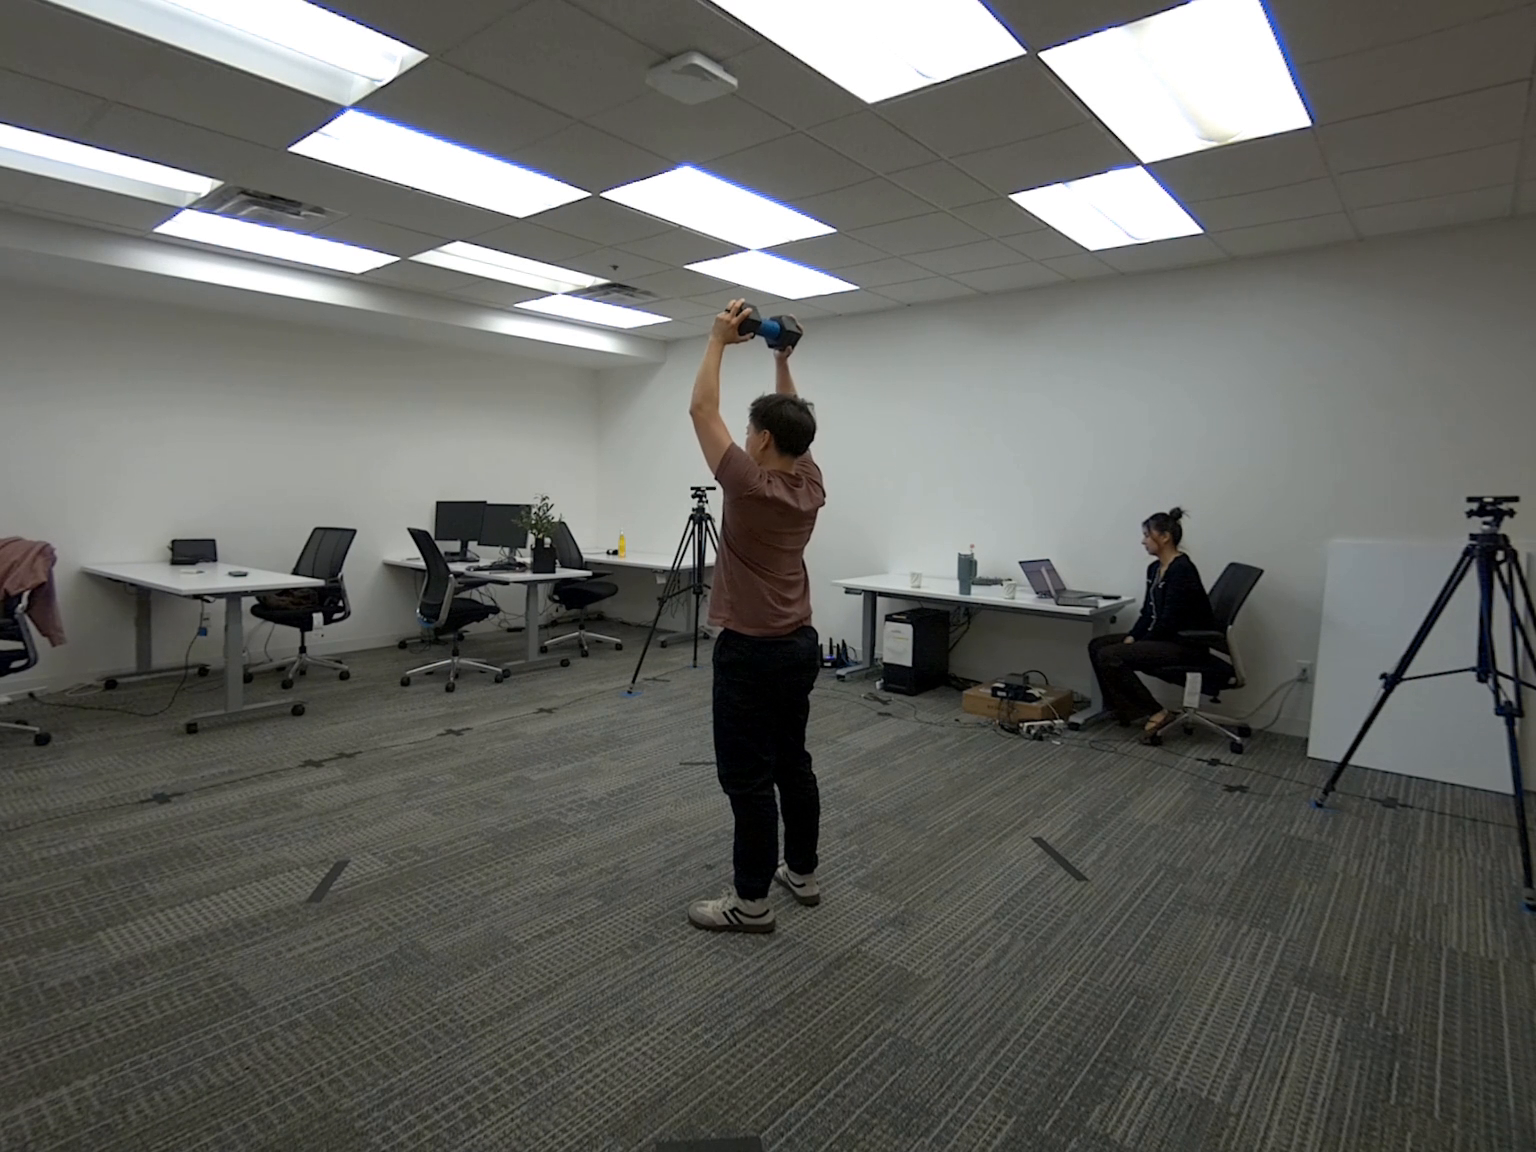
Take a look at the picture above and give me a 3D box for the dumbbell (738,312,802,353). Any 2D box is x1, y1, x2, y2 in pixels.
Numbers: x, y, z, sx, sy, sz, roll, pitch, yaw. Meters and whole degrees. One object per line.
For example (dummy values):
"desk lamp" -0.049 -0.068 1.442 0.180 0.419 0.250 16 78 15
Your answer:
"dumbbell" -0.032 -0.817 2.808 0.284 0.122 0.113 -2 38 -49
